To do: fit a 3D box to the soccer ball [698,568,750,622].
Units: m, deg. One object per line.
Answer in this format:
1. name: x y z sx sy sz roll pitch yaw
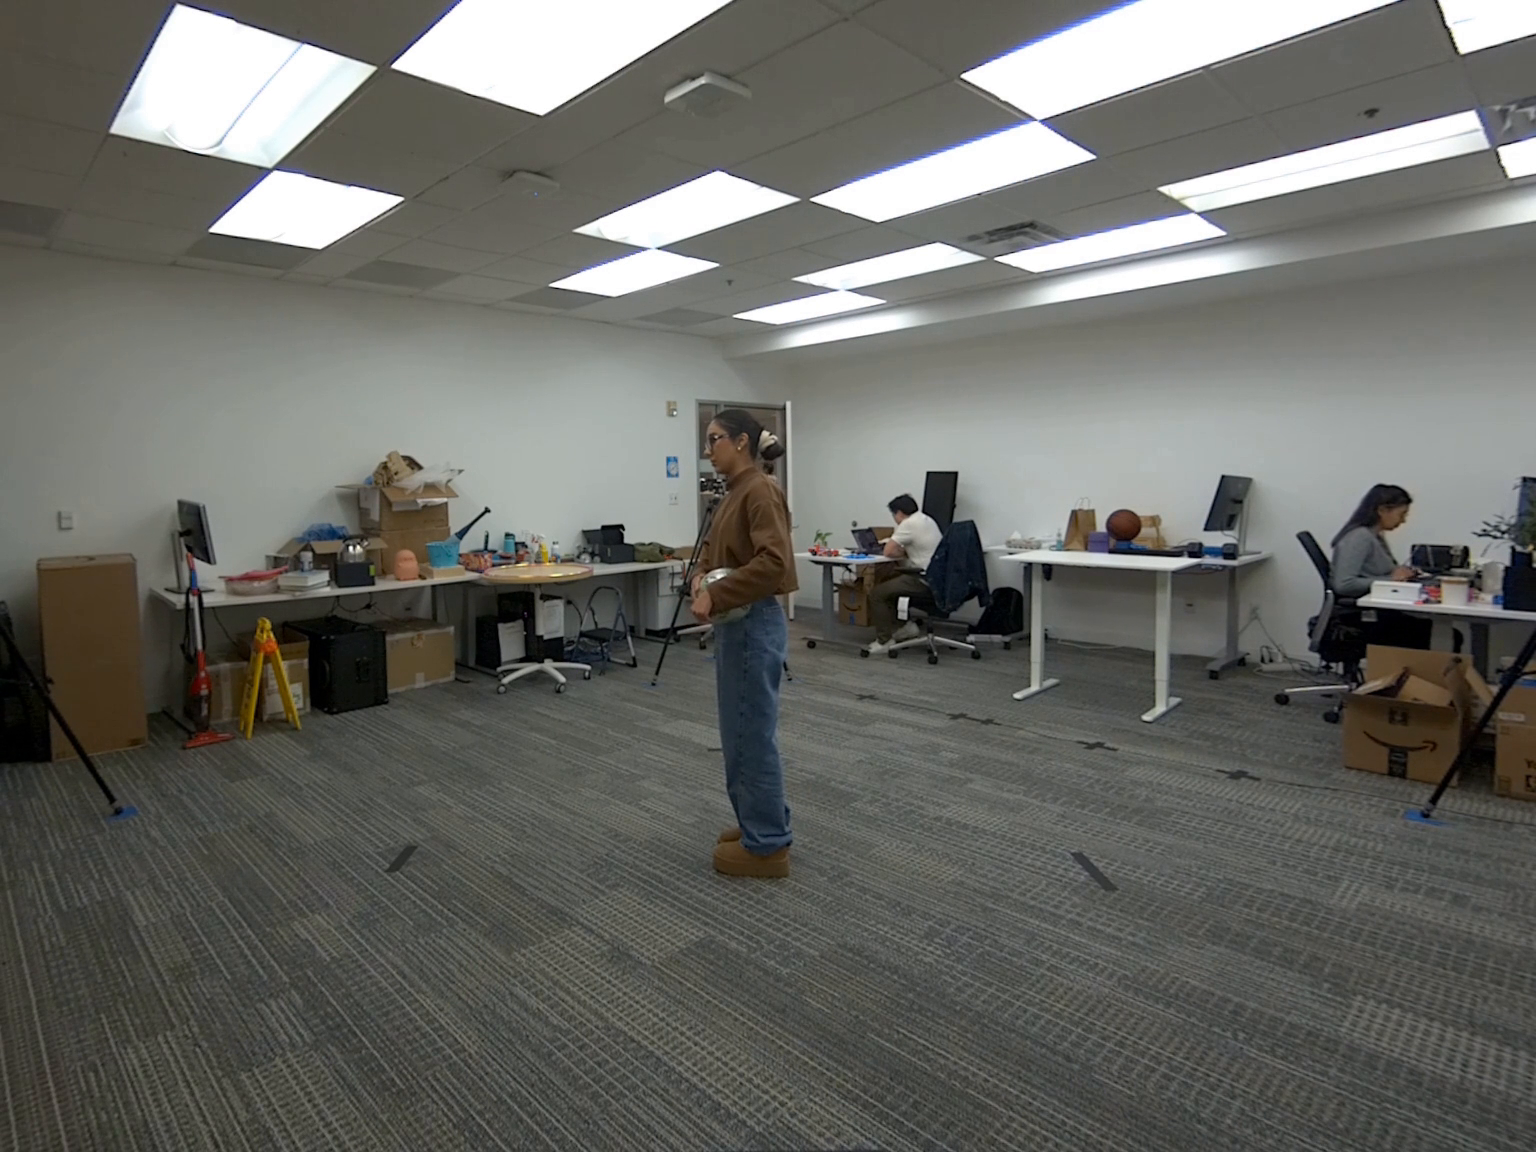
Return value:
1. soccer ball: -0.152 0.066 2.857 0.187 0.187 0.188 -1 5 -2
